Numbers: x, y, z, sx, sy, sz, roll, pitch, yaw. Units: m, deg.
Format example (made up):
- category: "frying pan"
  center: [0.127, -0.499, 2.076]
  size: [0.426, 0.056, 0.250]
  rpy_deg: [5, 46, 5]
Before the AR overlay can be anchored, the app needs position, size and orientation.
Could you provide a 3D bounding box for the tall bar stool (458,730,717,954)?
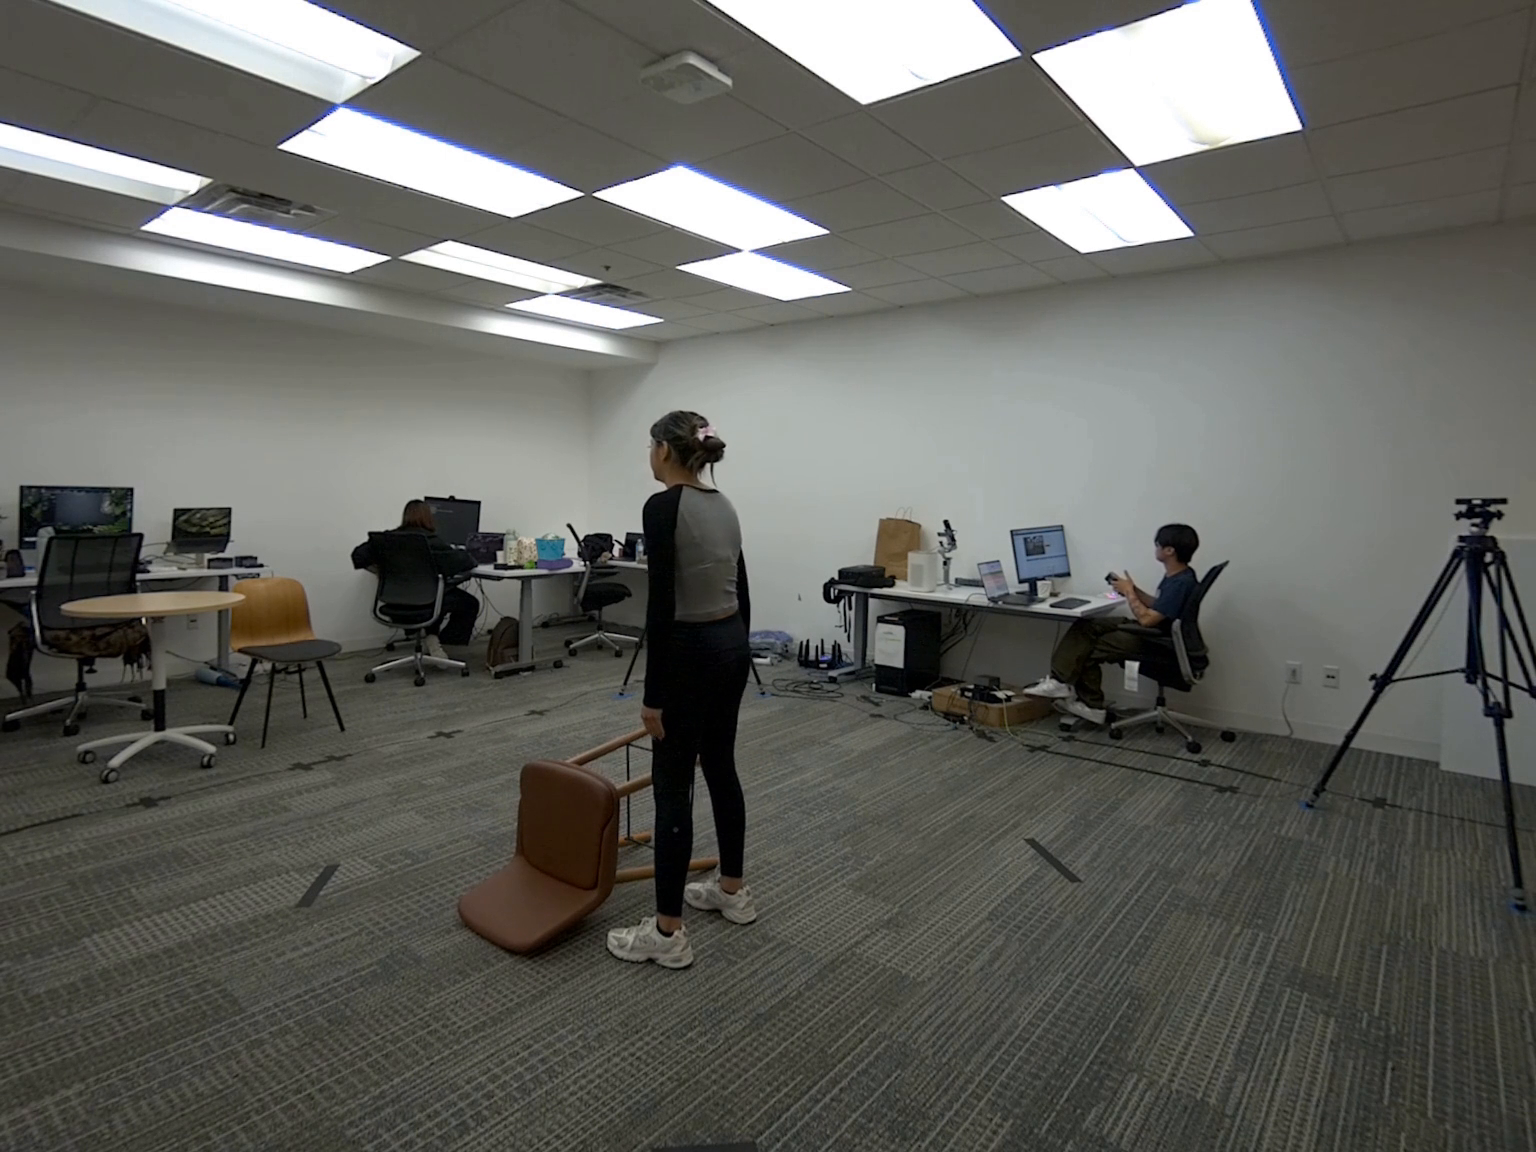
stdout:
- category: "tall bar stool"
  center: [-0.593, 0.852, 2.915]
  size: [0.472, 0.466, 0.864]
  rpy_deg: [4, 6, 38]
